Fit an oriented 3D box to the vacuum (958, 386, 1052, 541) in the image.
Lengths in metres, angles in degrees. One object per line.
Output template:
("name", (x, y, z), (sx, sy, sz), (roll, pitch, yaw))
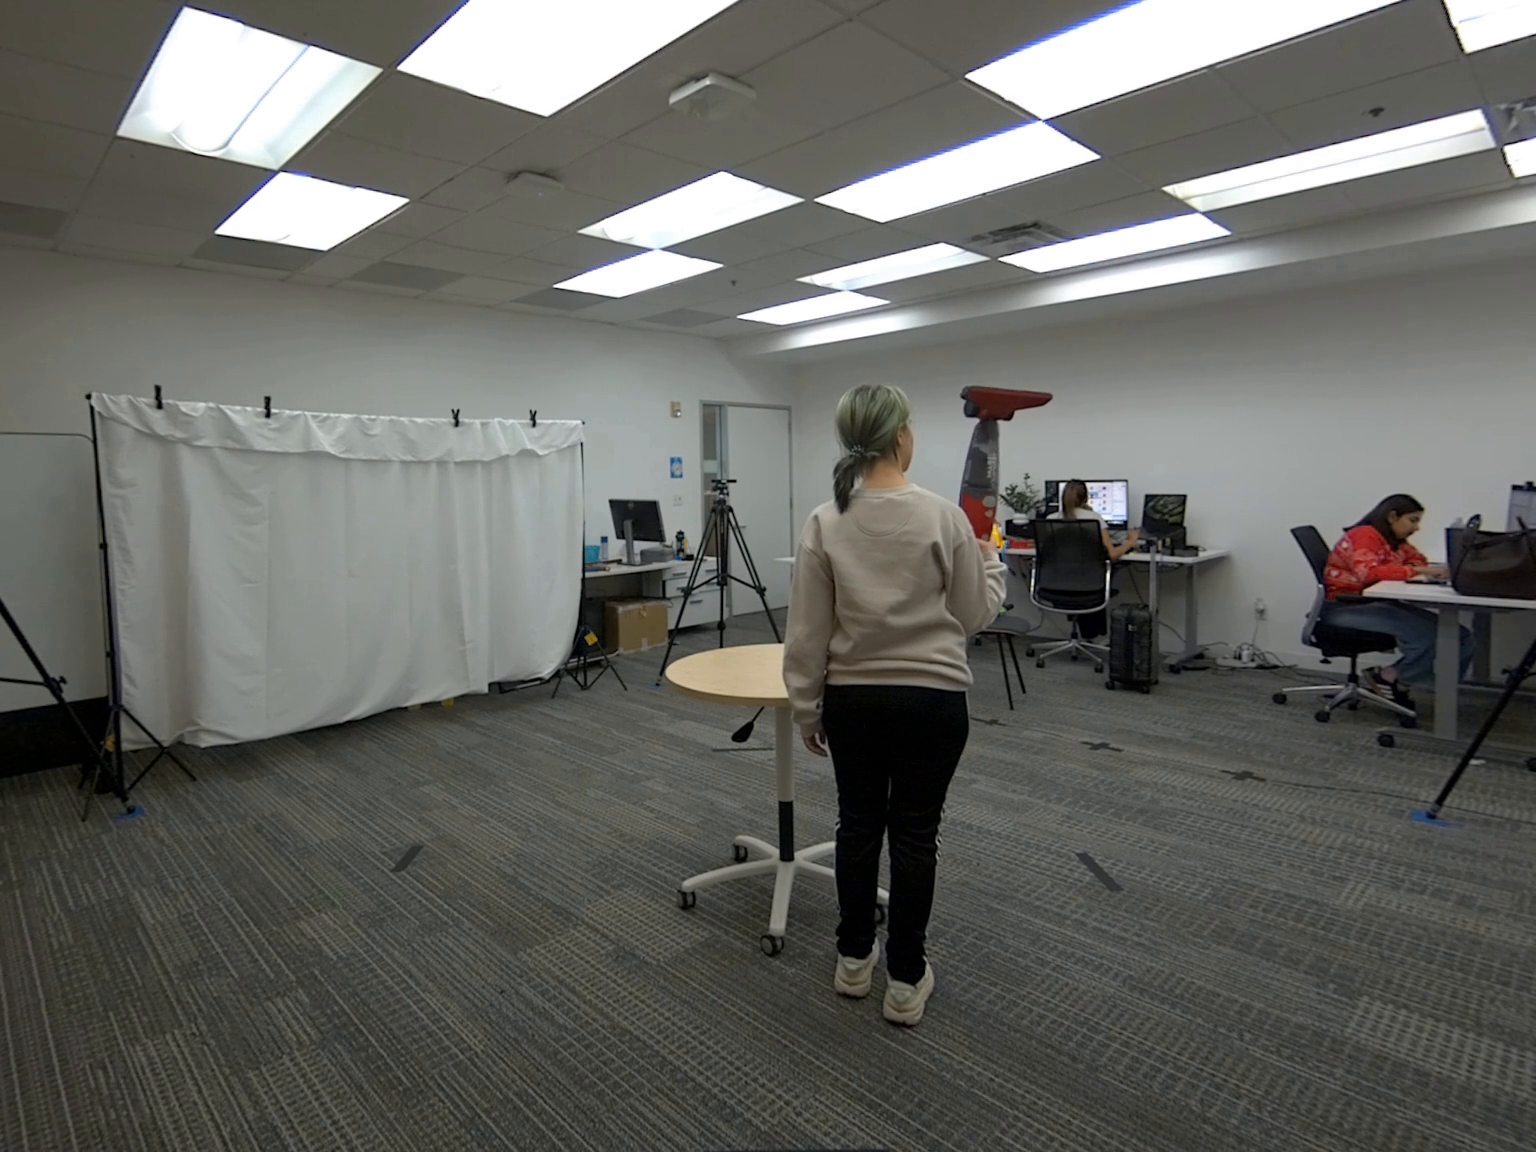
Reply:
("vacuum", (0.595, 0.009, 2.457), (0.249, 1.040, 0.147), (4, 12, -14))
